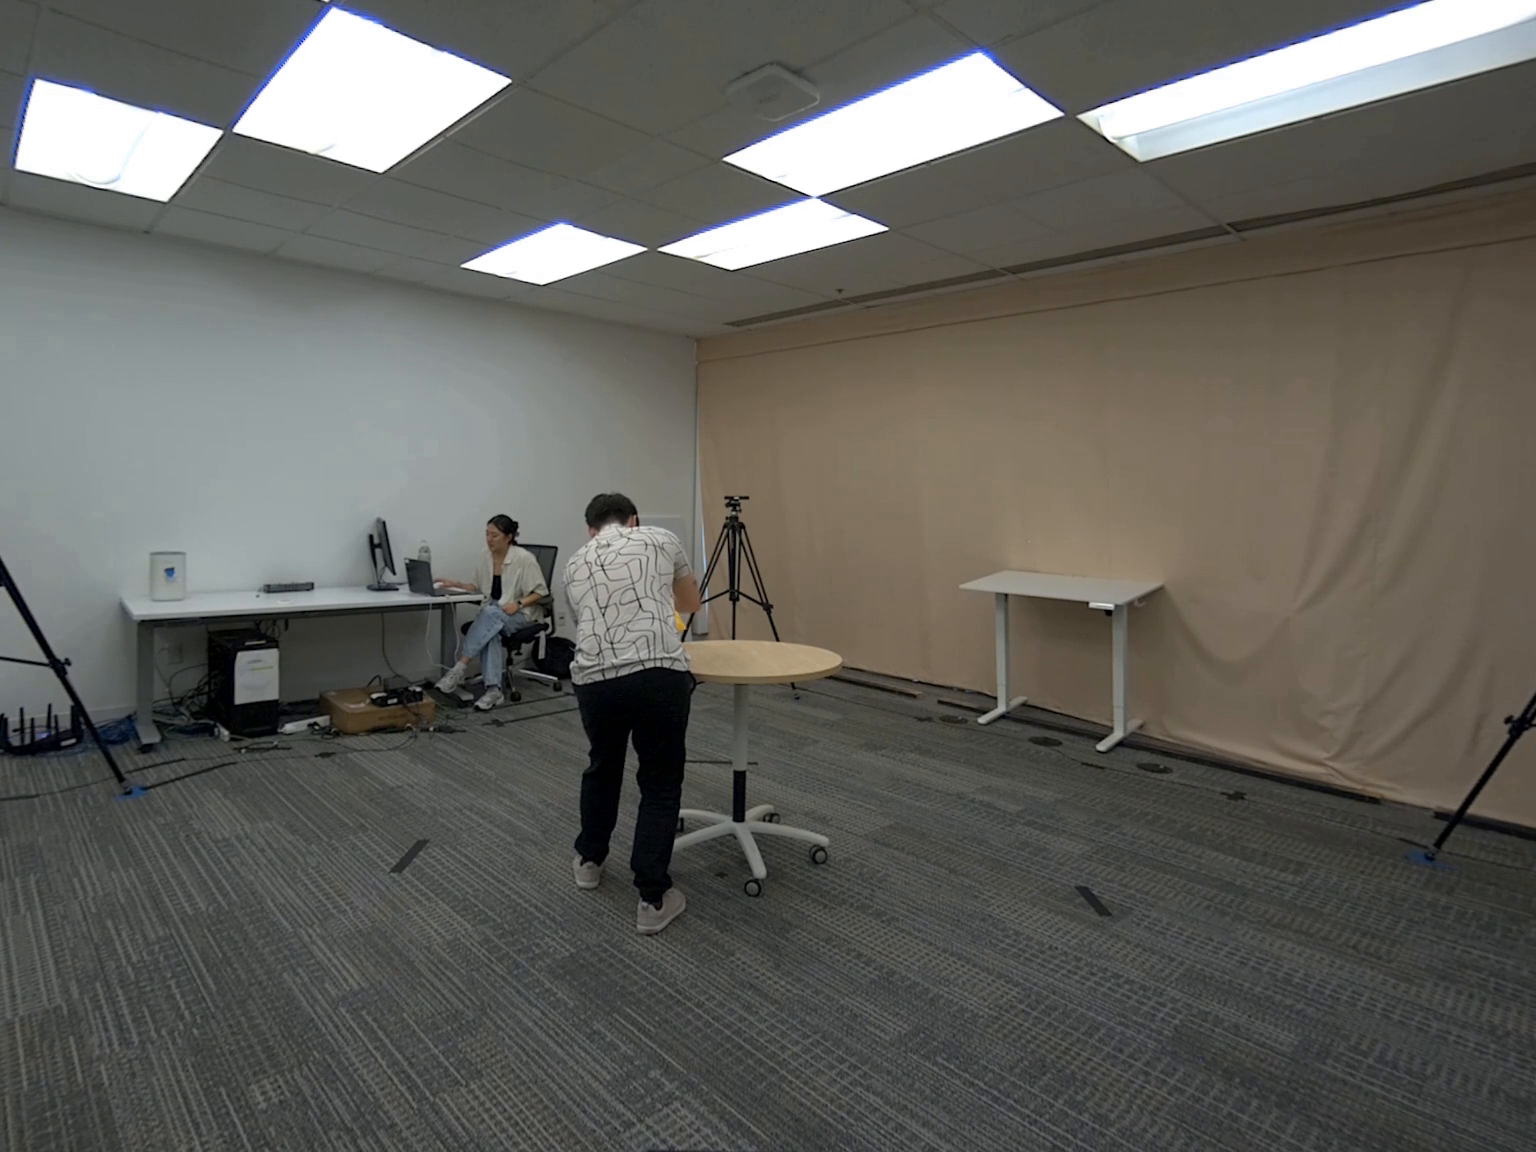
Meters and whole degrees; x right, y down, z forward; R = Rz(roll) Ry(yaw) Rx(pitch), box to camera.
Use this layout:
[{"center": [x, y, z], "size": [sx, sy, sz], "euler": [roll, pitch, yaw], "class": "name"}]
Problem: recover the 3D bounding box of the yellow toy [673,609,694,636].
[{"center": [-0.471, 0.179, 3.408], "size": [0.188, 0.230, 0.210], "euler": [-2, 5, -42], "class": "yellow toy"}]
